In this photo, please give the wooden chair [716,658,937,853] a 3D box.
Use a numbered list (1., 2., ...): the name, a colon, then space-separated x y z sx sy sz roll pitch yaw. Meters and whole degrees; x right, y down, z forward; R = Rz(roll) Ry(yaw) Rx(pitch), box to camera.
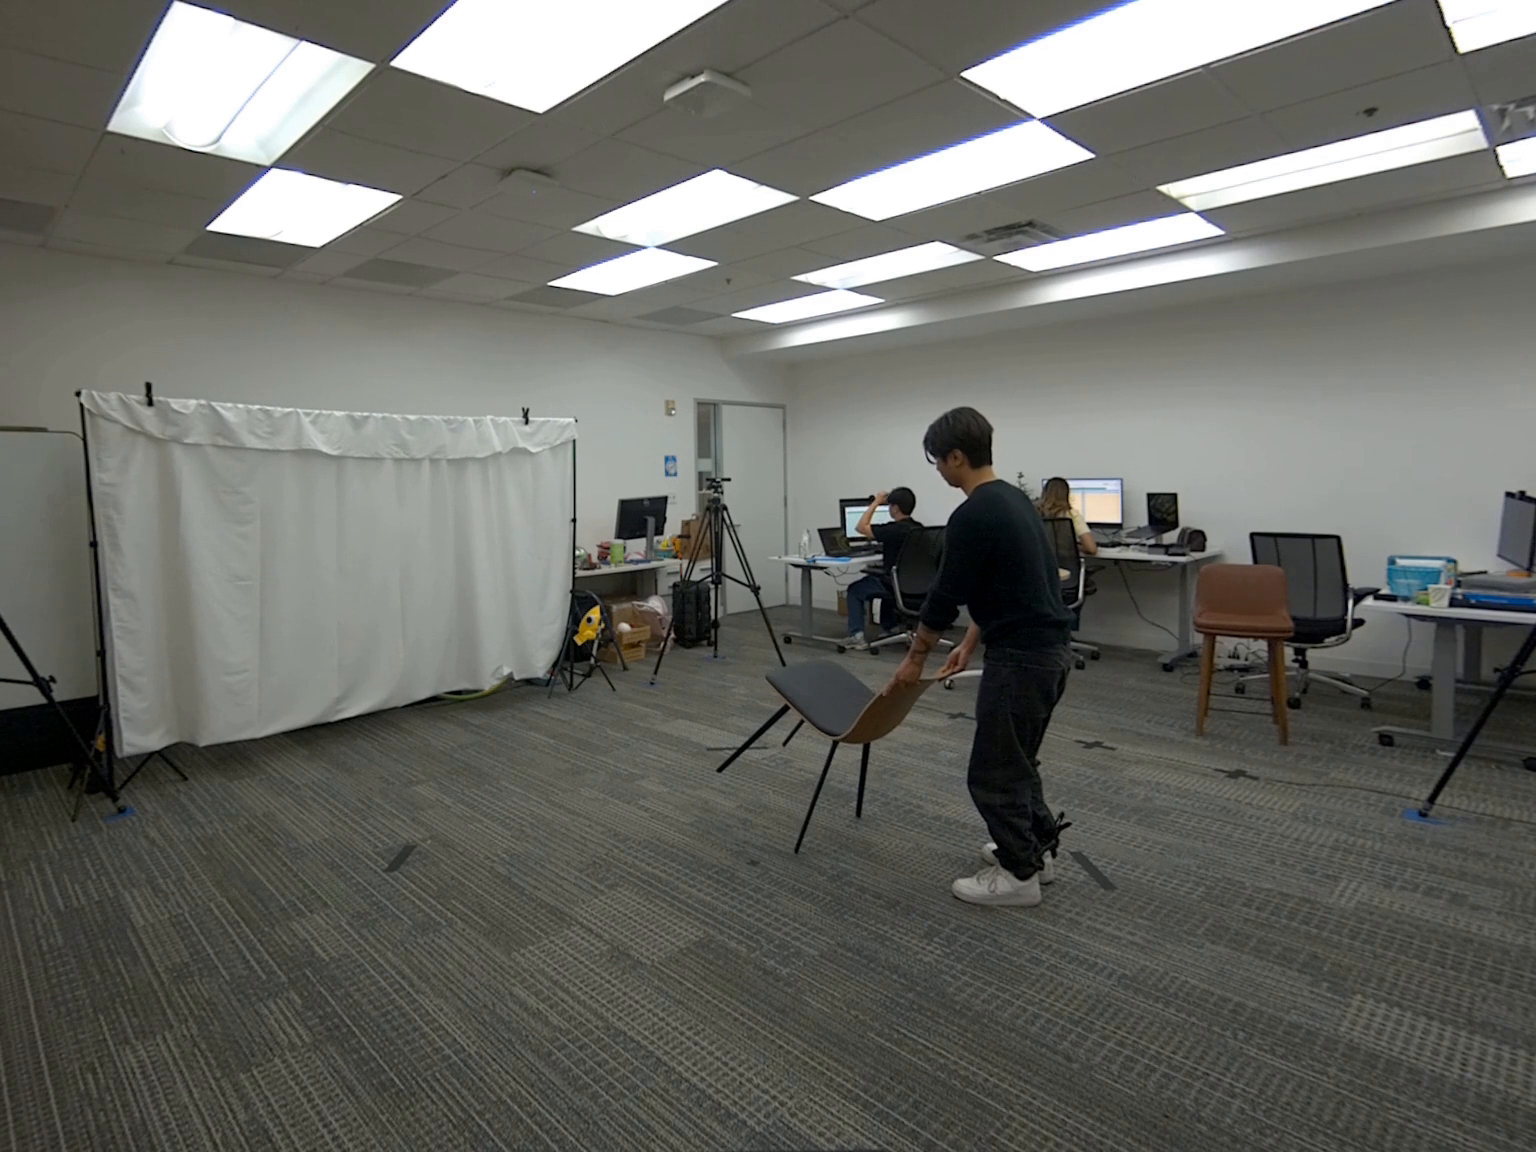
1. wooden chair: 0.245 0.528 3.301 0.466 0.870 0.541 -6 42 -50
